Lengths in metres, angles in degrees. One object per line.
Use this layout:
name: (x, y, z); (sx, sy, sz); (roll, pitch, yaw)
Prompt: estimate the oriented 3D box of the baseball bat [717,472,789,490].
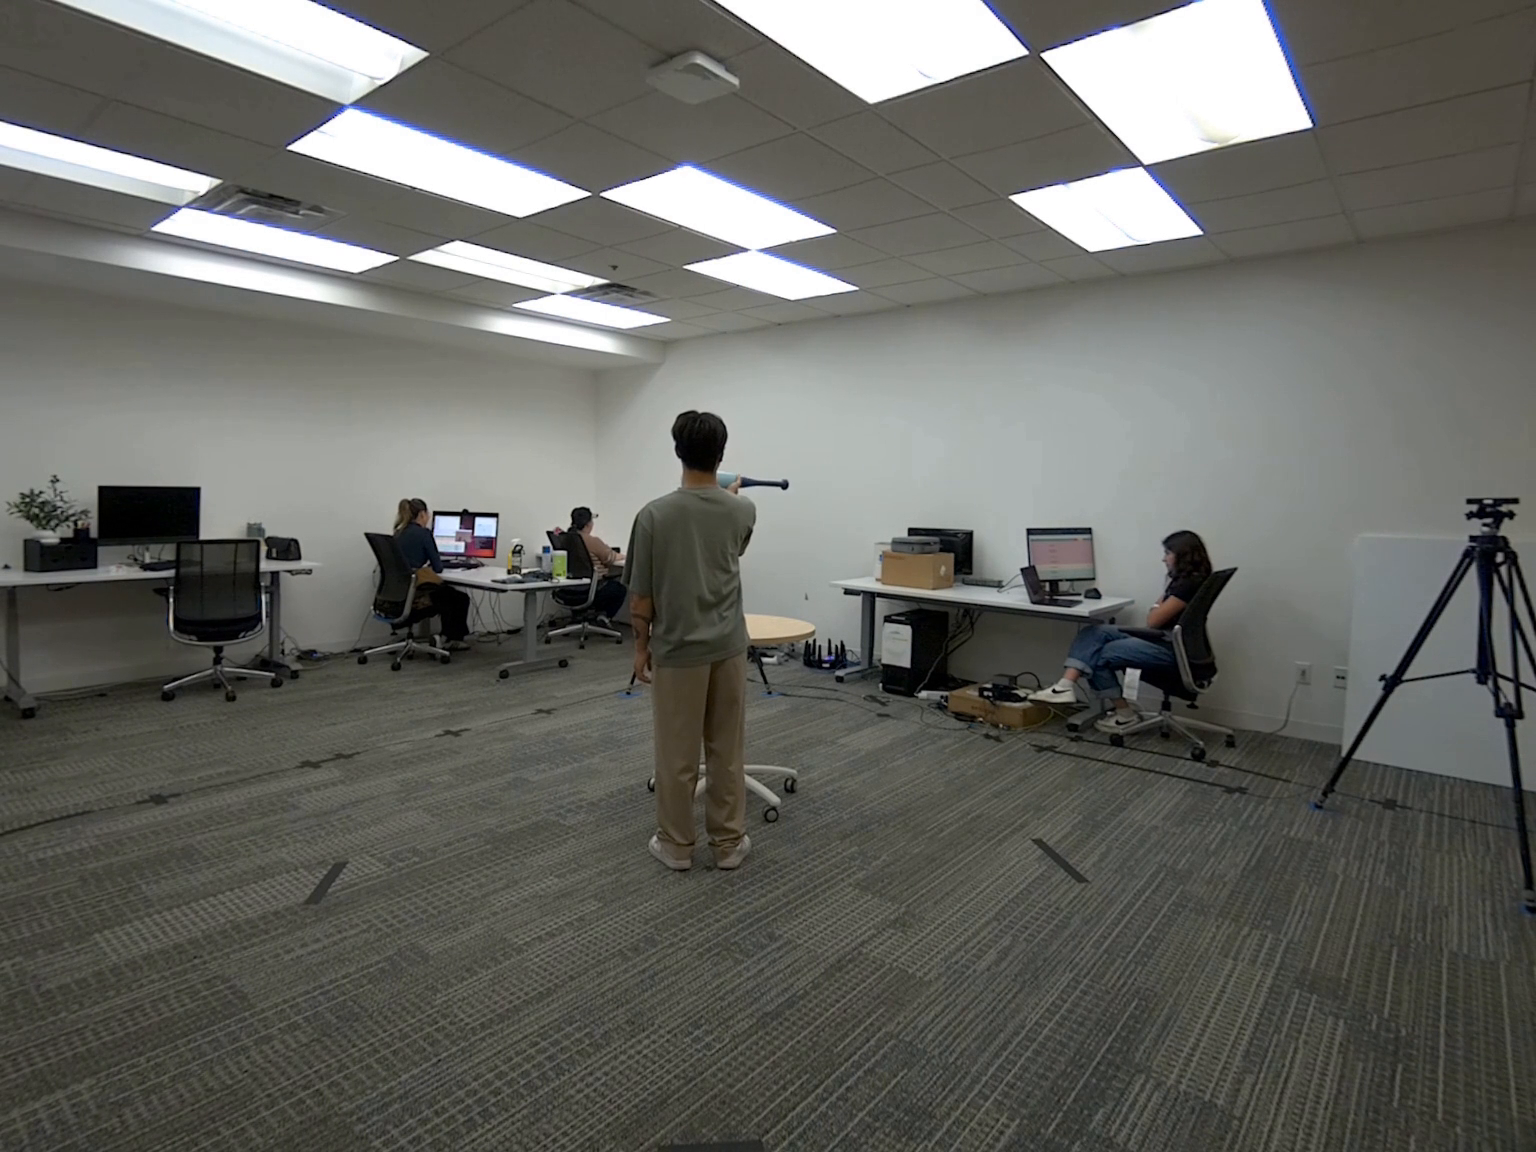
baseball bat: (-0.137, -0.416, 3.725); (0.527, 0.089, 0.092); (-1, 4, -35)
